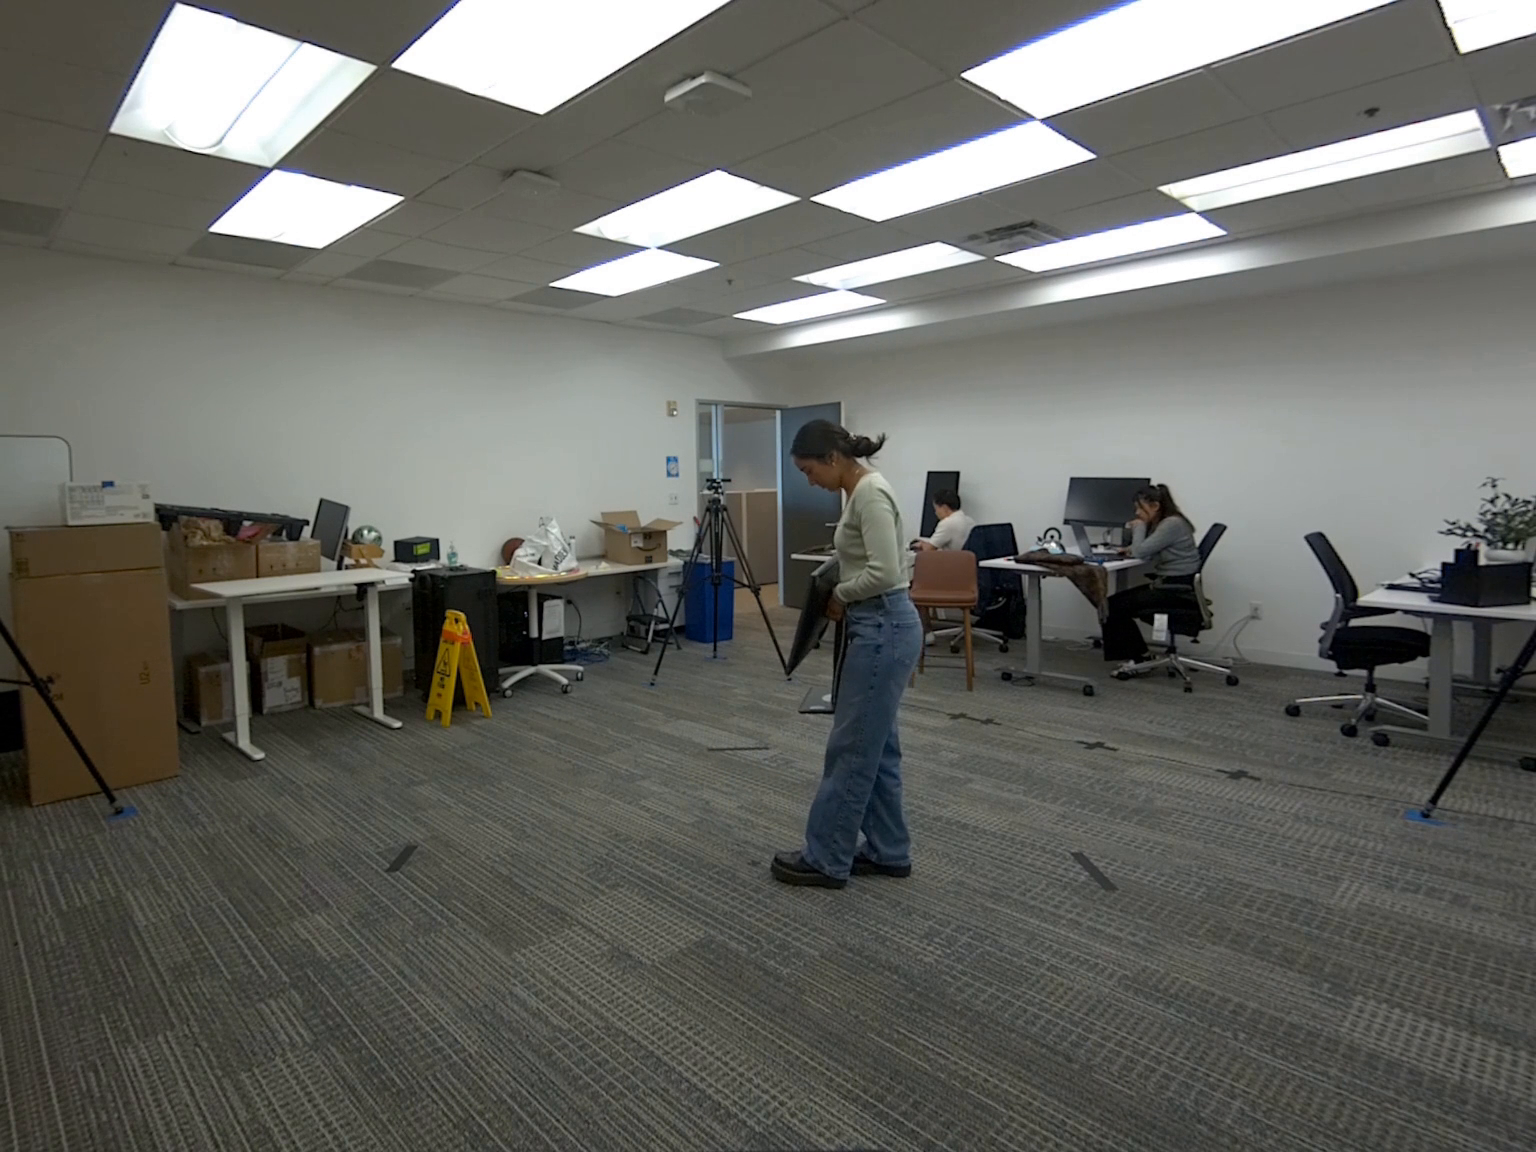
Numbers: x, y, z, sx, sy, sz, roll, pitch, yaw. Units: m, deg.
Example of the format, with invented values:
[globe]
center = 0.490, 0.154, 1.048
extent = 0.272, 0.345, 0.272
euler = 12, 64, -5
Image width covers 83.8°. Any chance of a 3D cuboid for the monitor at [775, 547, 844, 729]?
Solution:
[monitor]
center = 0.213, 0.194, 3.033
extent = 0.177, 0.512, 0.525
euler = -5, 8, 18
